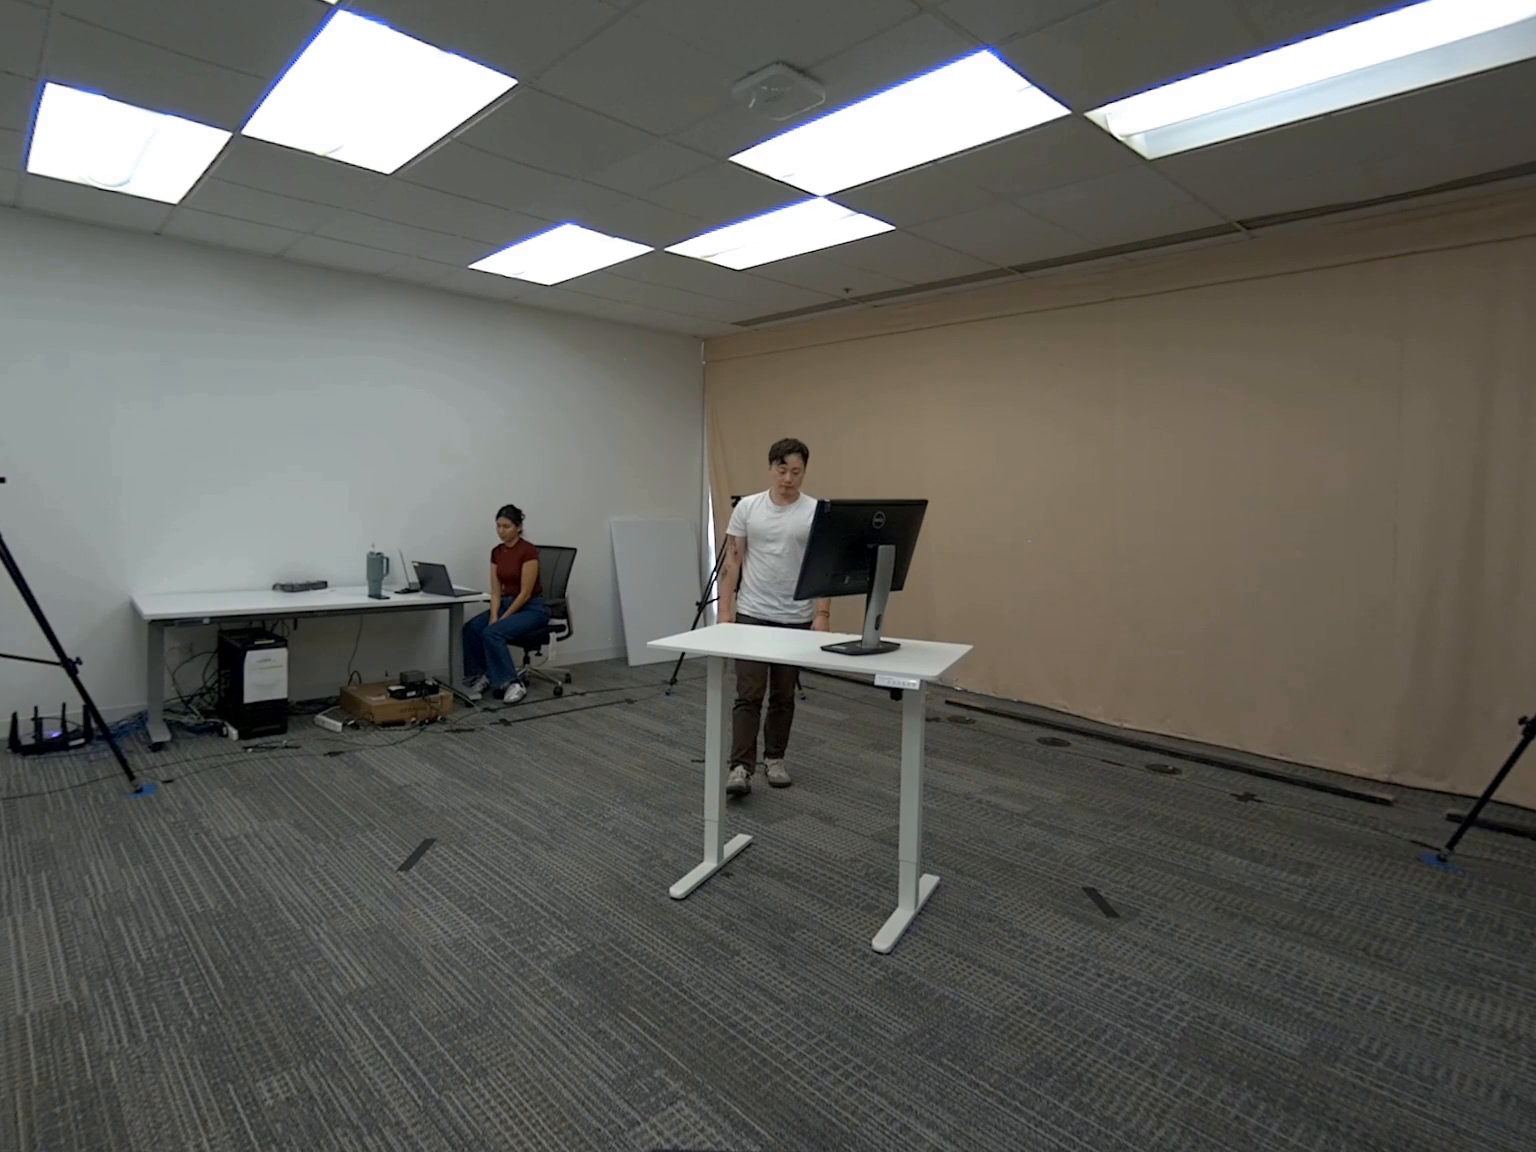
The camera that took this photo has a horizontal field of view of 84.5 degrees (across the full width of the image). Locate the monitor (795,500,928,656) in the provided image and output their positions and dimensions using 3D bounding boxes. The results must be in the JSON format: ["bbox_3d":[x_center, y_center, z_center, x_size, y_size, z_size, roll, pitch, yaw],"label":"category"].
[{"bbox_3d":[0.332,0.000,2.861,0.527,0.520,0.192,-3,9,-42],"label":"monitor"}]
